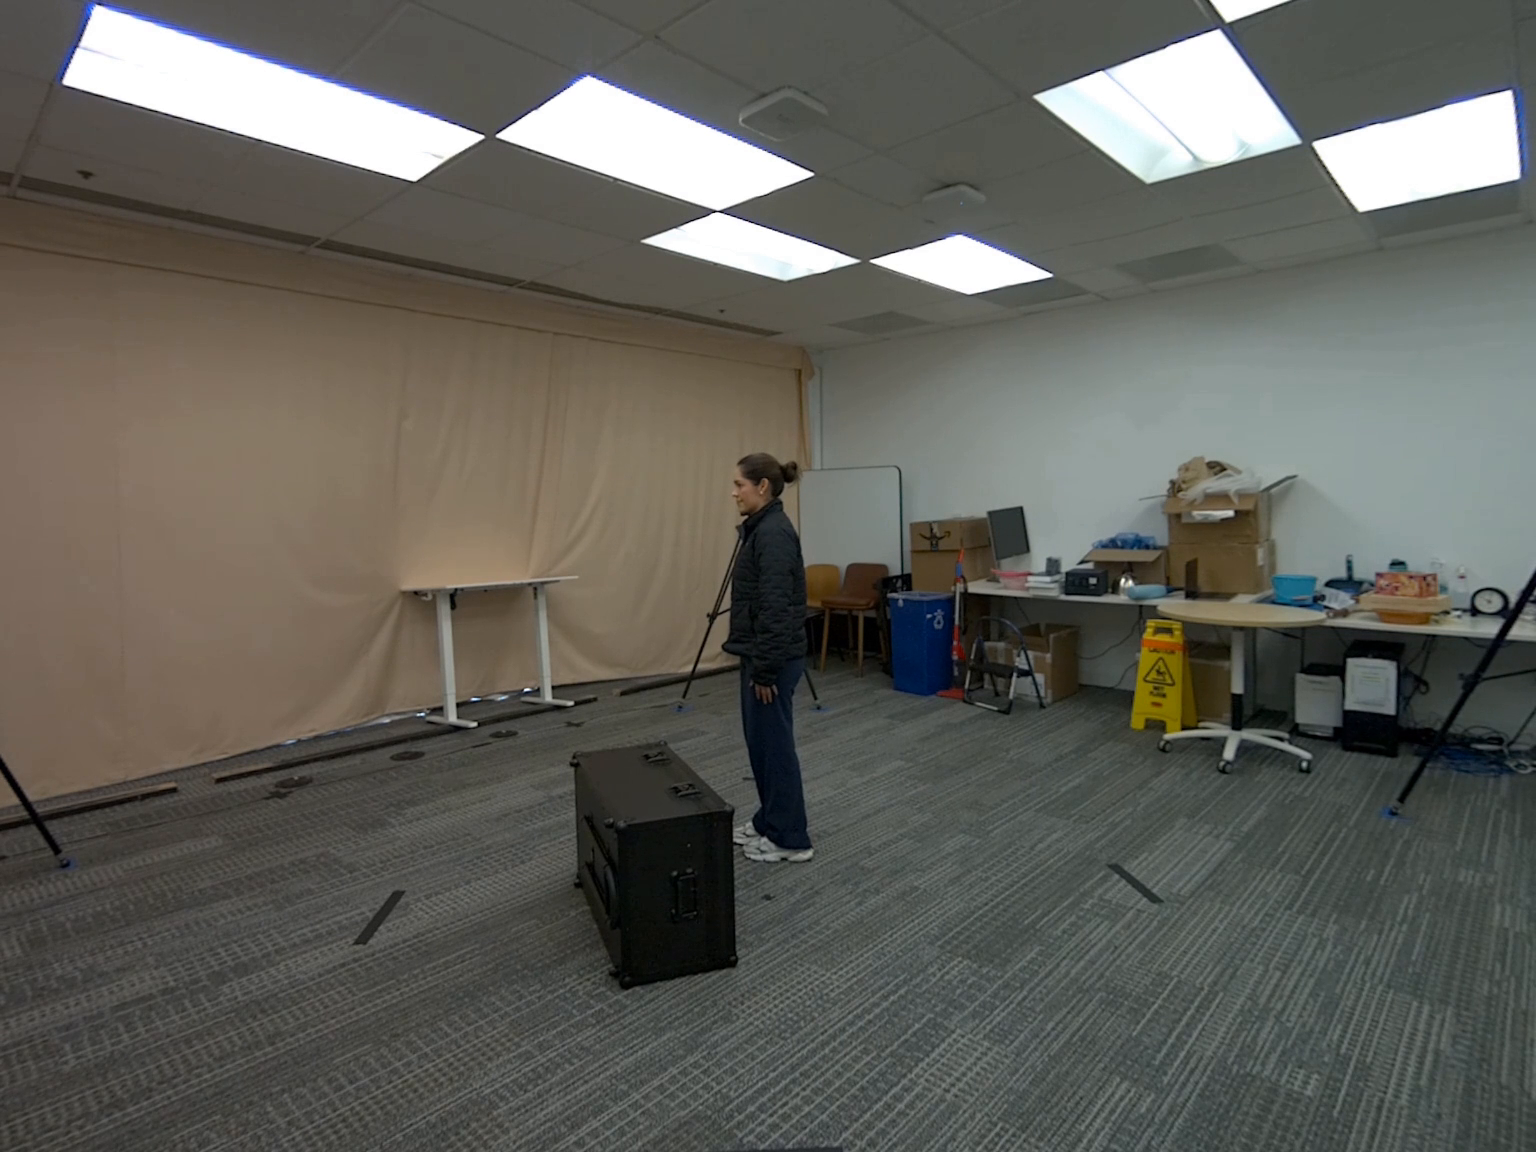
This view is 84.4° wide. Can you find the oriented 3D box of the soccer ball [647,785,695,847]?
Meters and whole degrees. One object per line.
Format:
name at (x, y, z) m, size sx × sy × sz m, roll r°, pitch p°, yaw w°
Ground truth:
soccer ball at (-0.411, 1.010, 3.583) m, size 0.187 × 0.187 × 0.188 m, roll -1°, pitch 4°, yaw -2°
